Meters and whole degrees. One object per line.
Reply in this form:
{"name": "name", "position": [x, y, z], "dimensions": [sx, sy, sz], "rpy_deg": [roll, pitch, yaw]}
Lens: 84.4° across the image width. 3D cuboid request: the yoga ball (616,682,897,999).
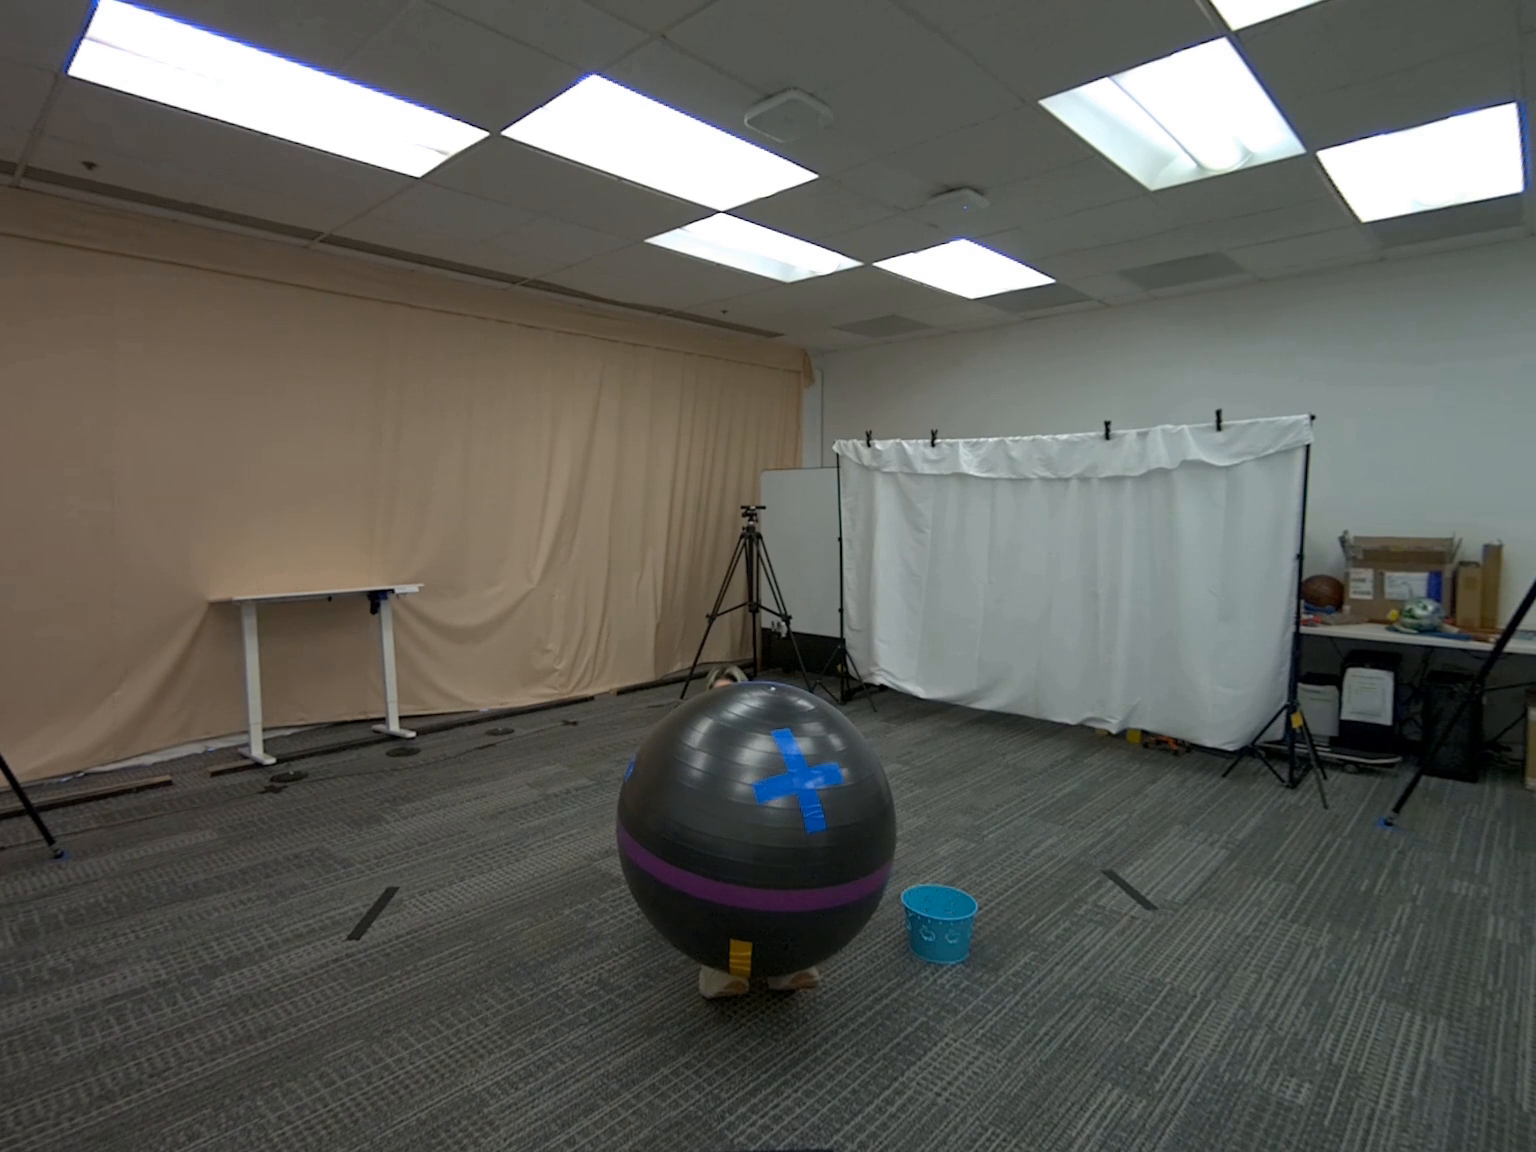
{"name": "yoga ball", "position": [-0.022, 0.680, 2.278], "dimensions": [0.757, 0.756, 0.761], "rpy_deg": [0, 4, -2]}
